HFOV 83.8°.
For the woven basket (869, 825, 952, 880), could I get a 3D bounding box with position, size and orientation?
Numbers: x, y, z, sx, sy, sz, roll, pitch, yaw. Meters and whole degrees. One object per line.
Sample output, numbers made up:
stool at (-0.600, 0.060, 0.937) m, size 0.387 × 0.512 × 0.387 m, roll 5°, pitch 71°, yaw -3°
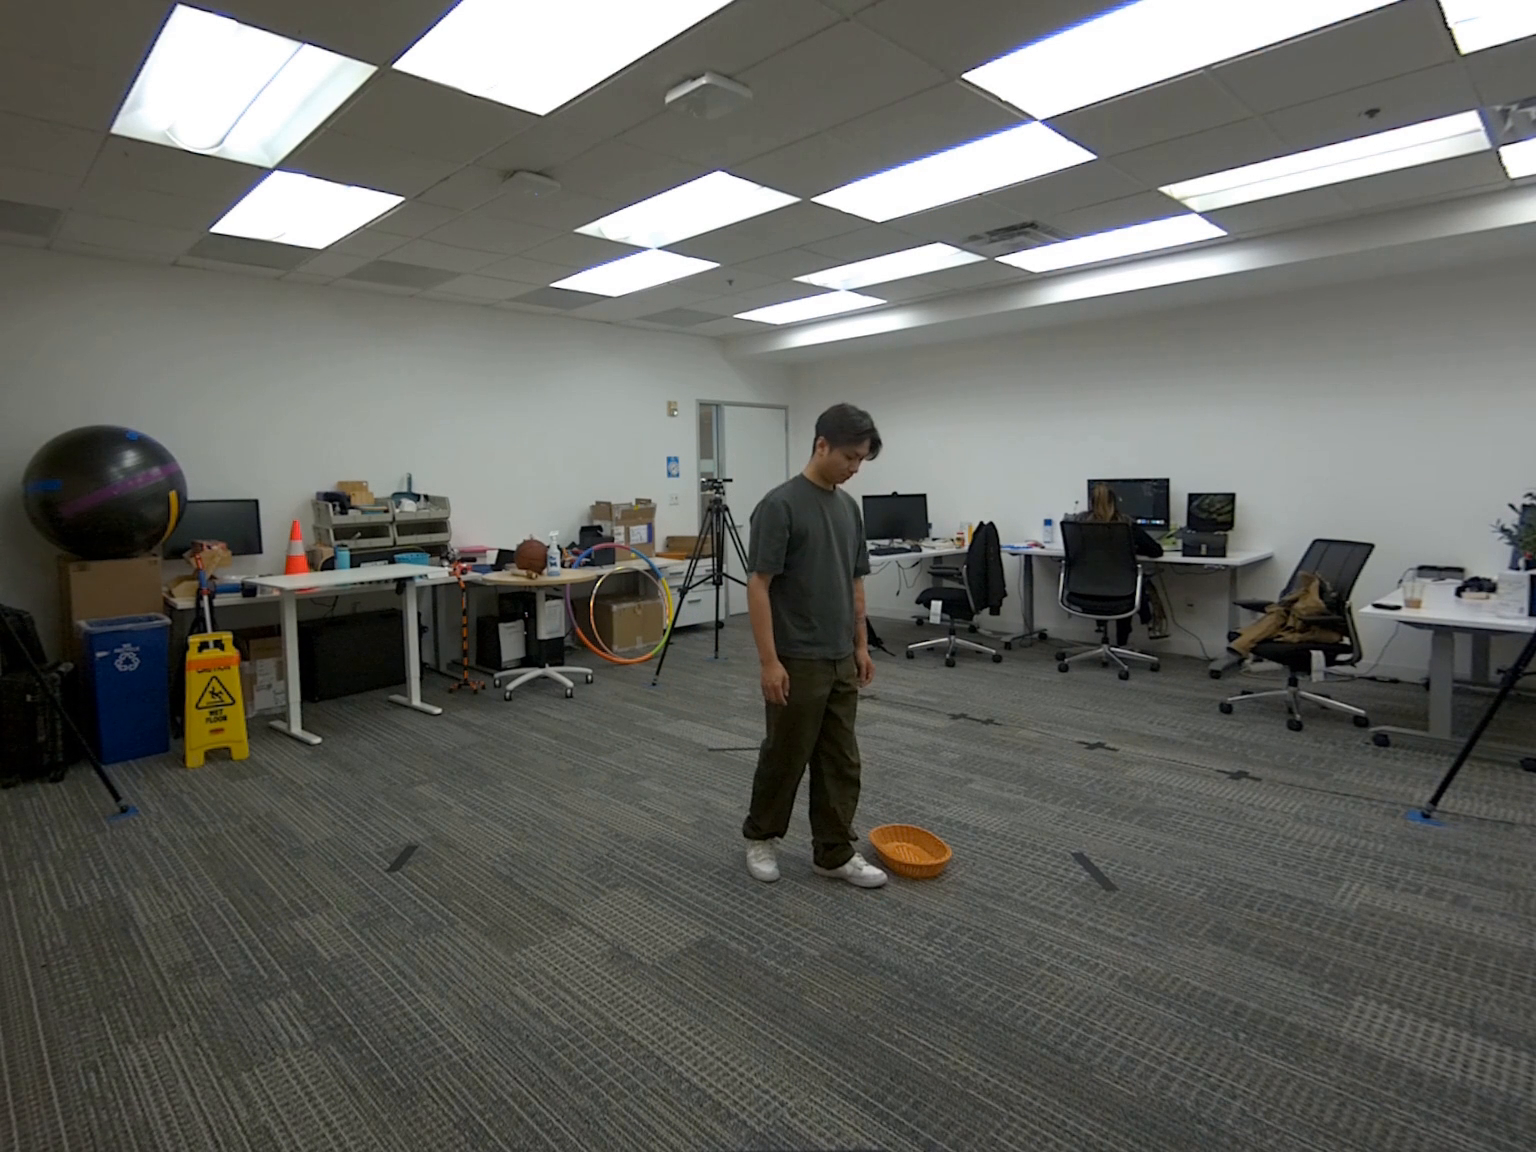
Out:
woven basket at (0.513, 0.997, 3.097) m, size 0.249 × 0.073 × 0.357 m, roll -2°, pitch 6°, yaw -16°
